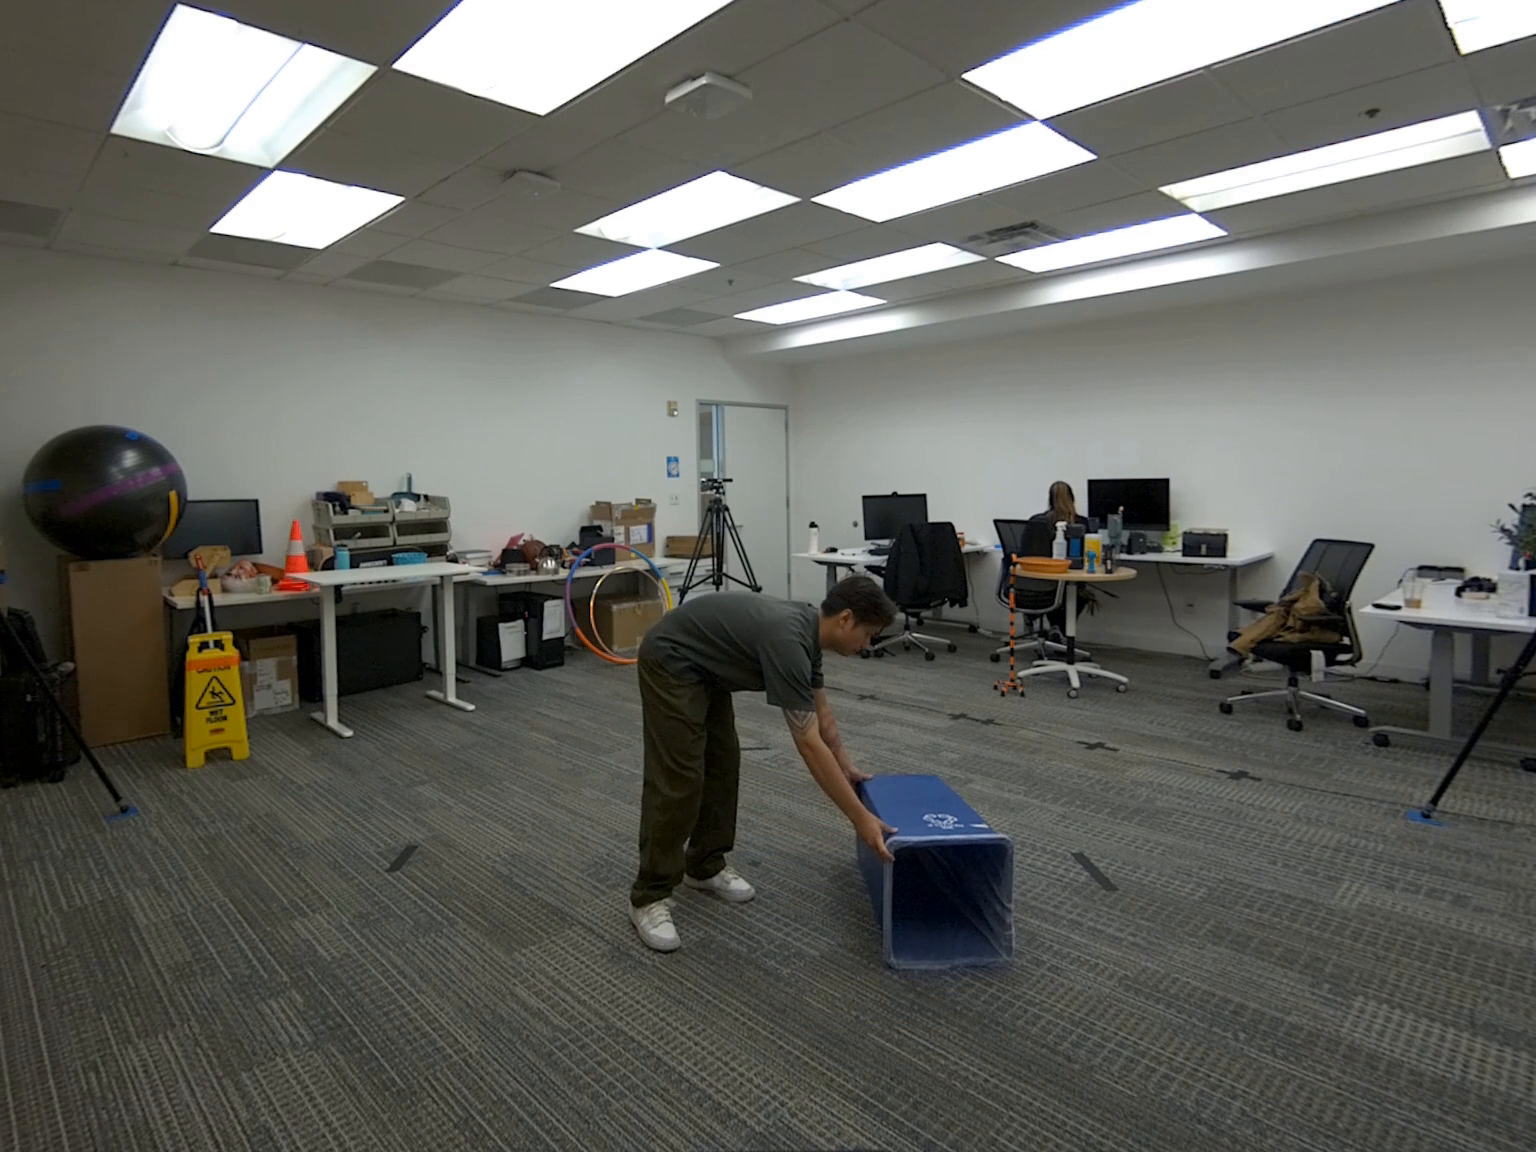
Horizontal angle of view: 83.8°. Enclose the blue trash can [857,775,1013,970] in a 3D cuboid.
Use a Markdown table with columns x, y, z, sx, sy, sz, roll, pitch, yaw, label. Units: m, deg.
| x | y | z | sx | sy | sz | roll | pitch | yaw | label |
| --- | --- | --- | --- | --- | --- | --- | --- | --- | --- |
| 0.495 | 0.894 | 2.778 | 0.377 | 0.373 | 0.717 | -2 | 4 | -3 | blue trash can |
